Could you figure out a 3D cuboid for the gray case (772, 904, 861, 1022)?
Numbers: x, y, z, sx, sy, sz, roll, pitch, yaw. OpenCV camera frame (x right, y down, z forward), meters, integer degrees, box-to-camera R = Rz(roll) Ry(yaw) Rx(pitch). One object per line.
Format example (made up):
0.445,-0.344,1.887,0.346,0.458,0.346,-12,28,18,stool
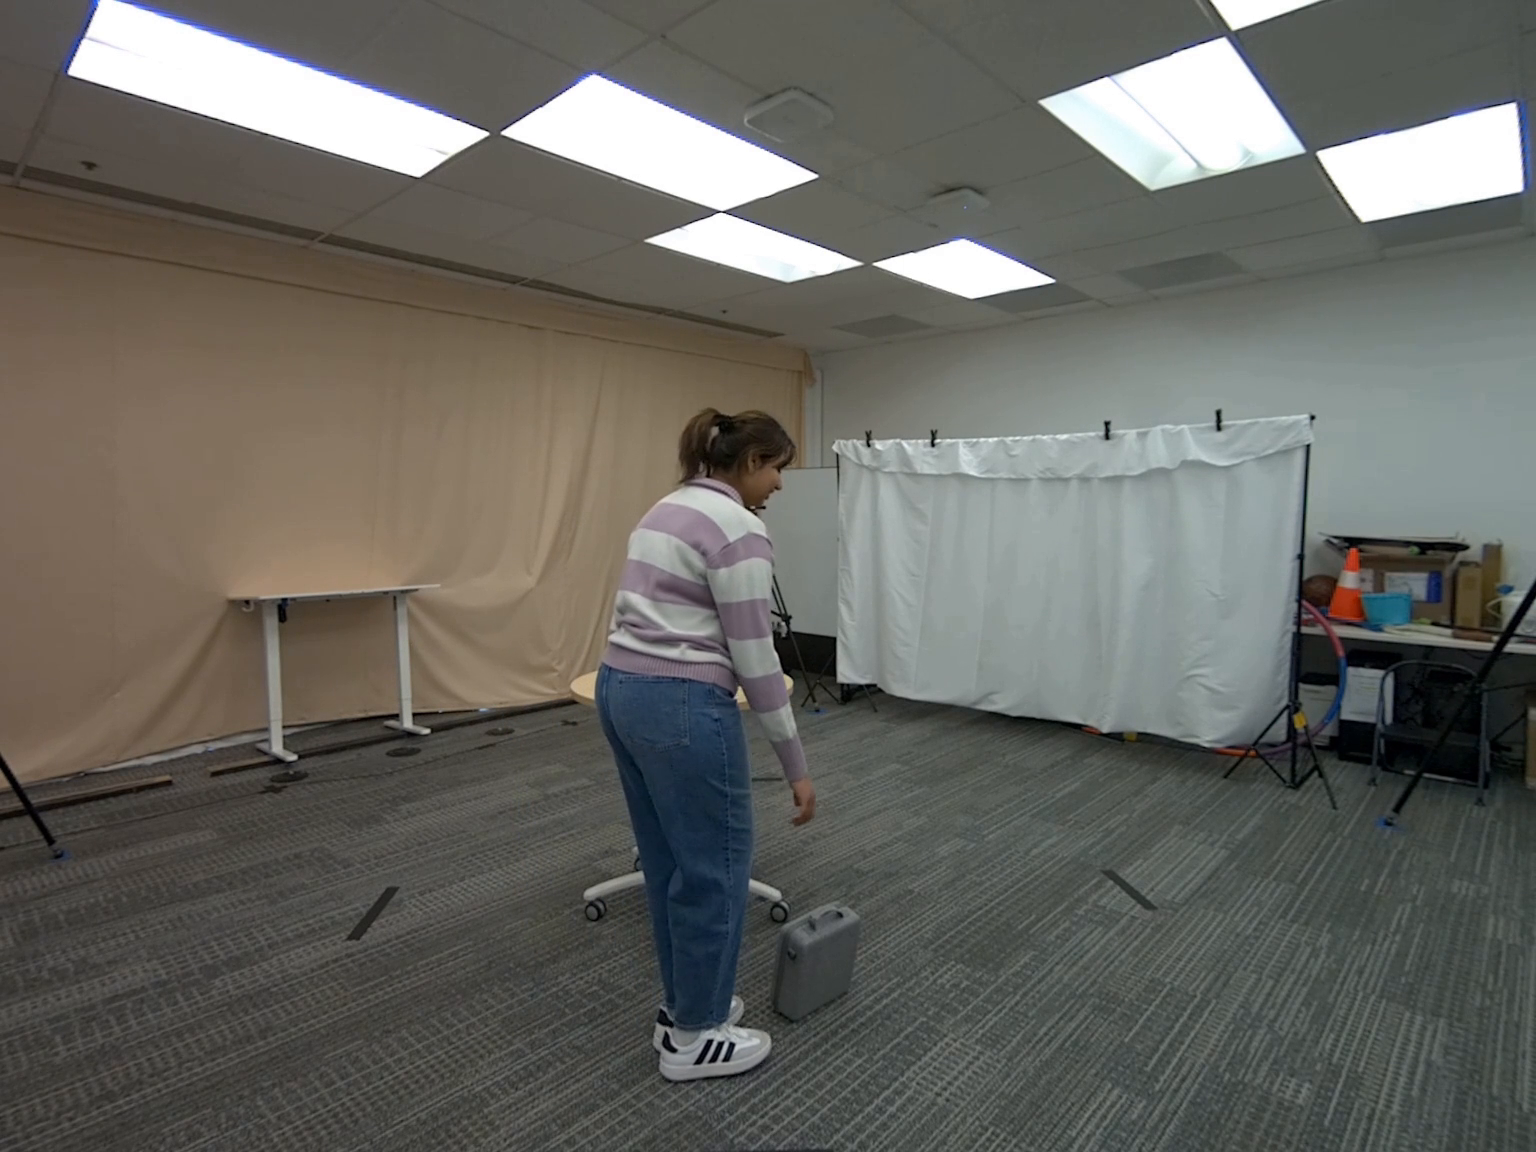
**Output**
0.140,1.065,2.343,0.249,0.259,0.108,-4,15,-41,gray case
